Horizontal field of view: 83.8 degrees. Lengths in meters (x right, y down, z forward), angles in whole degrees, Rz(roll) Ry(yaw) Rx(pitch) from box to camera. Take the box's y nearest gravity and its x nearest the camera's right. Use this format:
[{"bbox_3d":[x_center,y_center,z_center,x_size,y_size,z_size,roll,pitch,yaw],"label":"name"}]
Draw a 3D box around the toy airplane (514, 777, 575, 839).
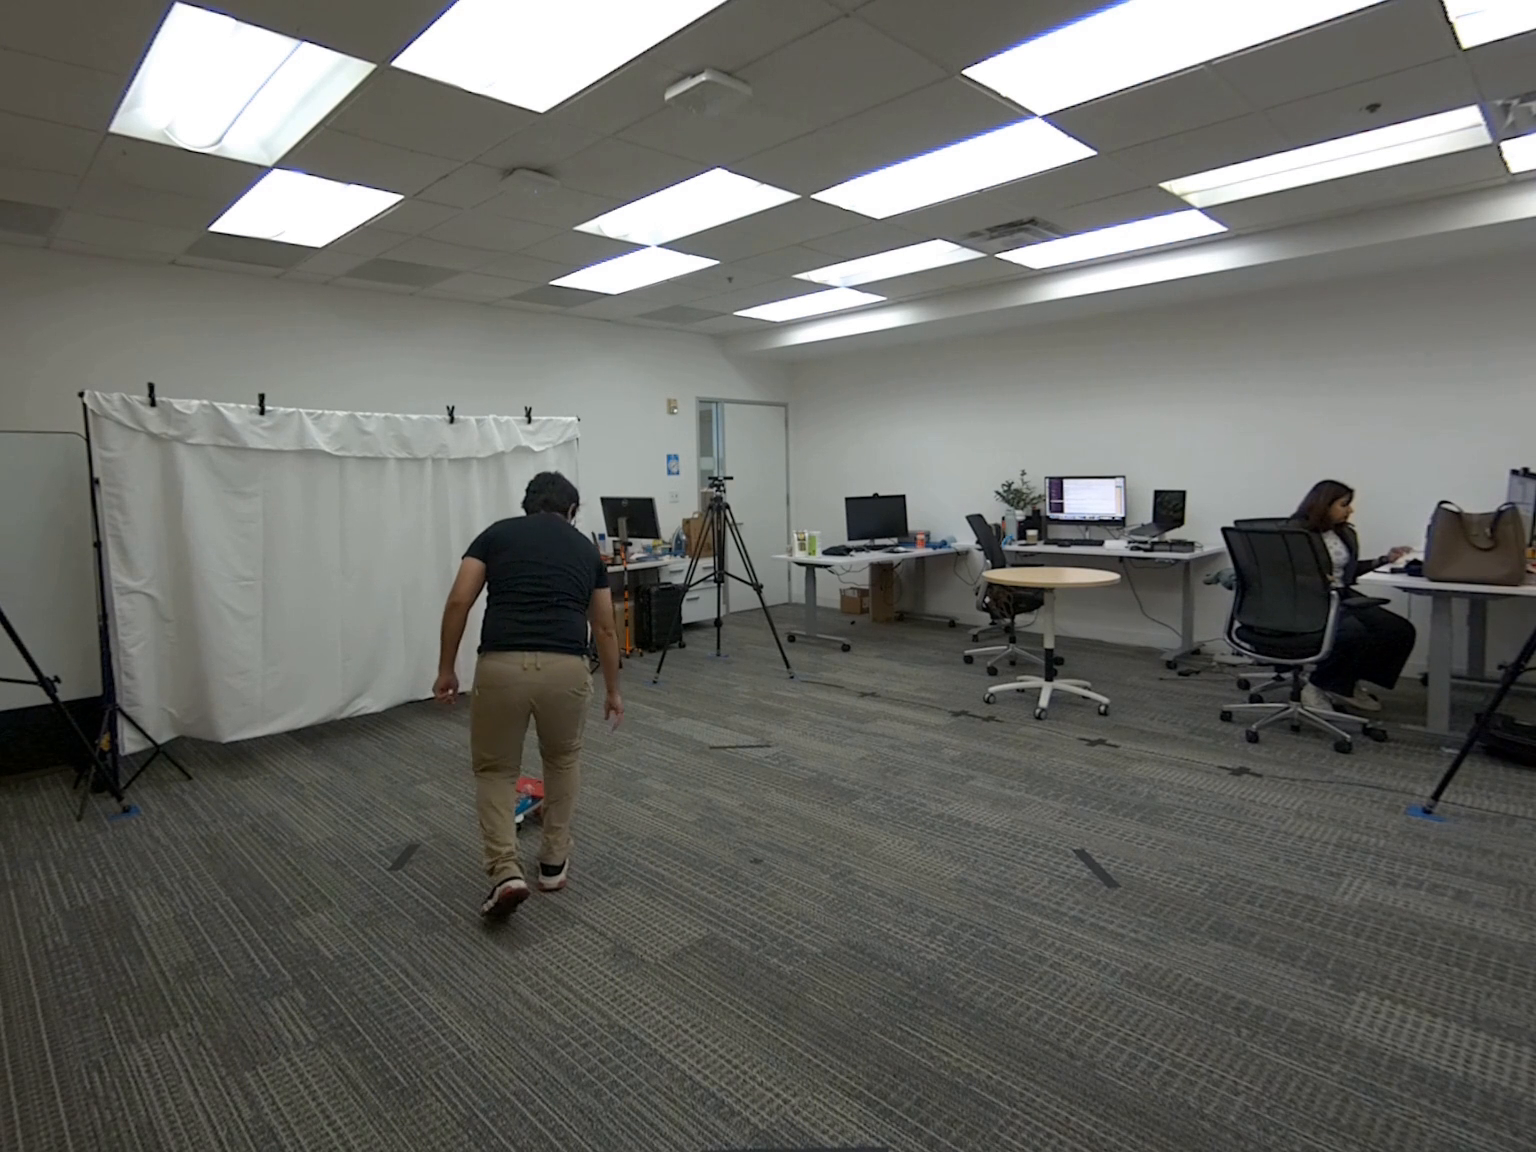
[{"bbox_3d":[-0.951,0.941,3.494,0.252,0.156,0.259,-1,4,3],"label":"toy airplane"}]
